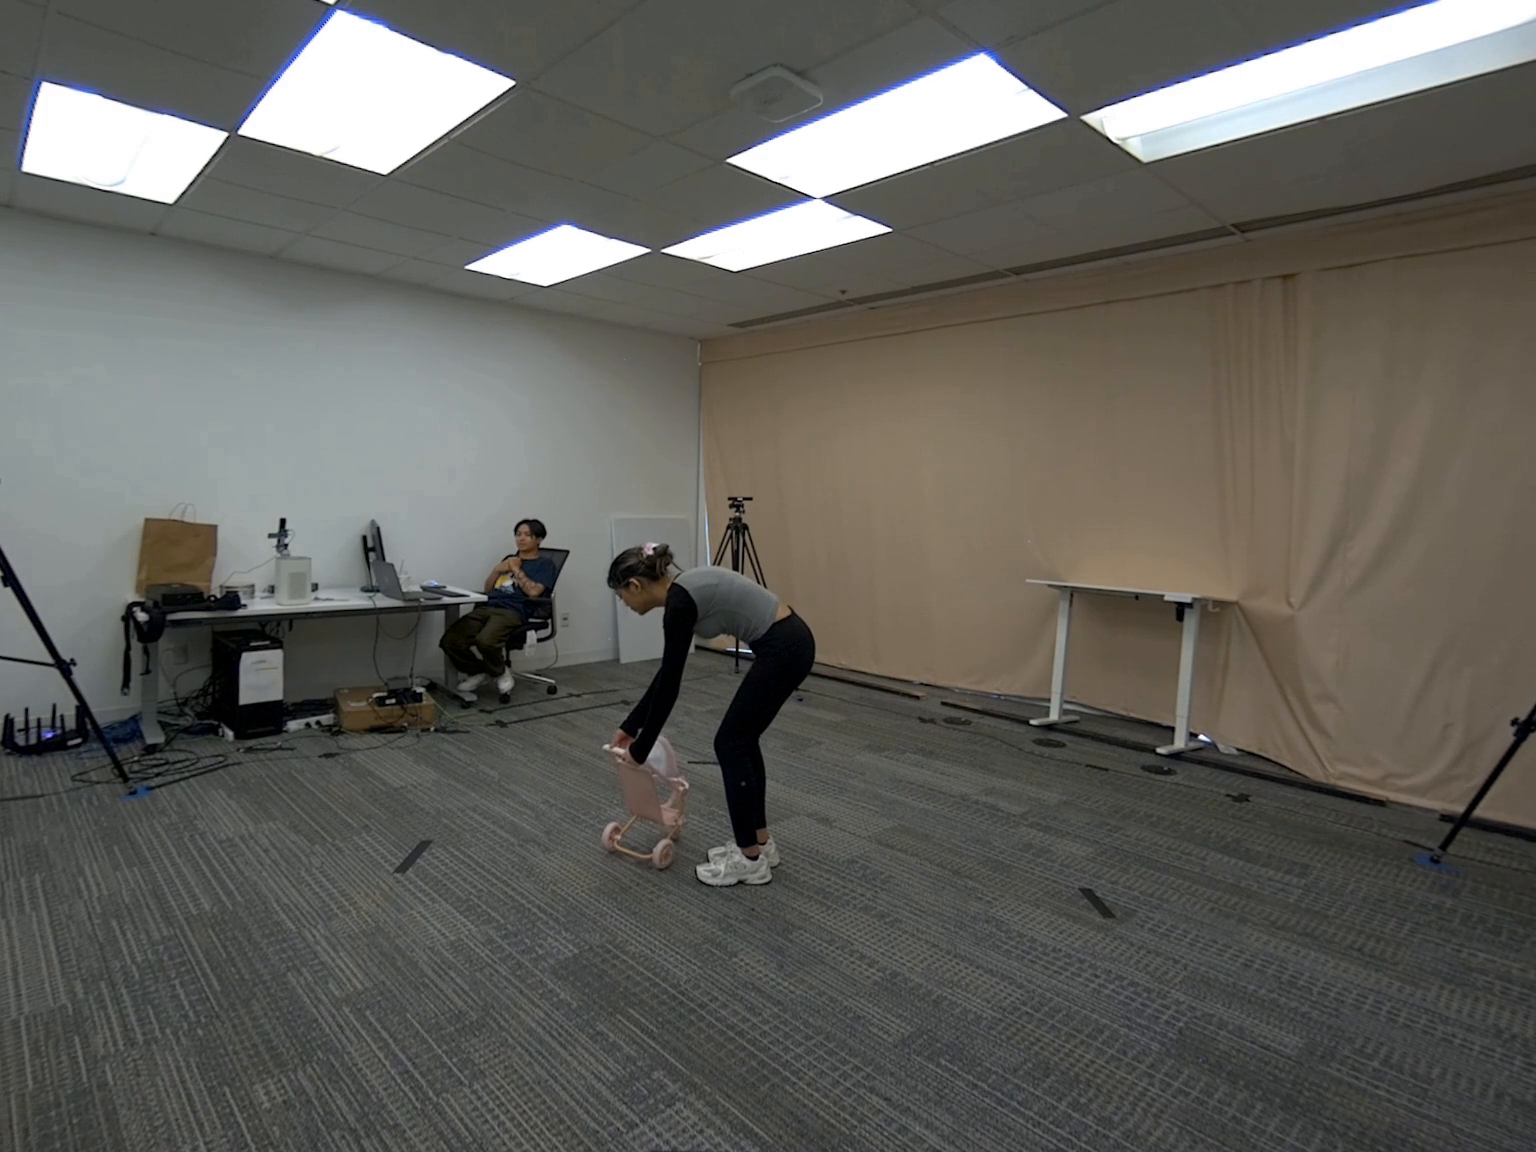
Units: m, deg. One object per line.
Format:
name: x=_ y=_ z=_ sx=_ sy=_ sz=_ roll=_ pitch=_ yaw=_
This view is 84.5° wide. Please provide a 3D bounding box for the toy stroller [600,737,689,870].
toy stroller: x=-0.459 y=0.849 z=3.265 sx=0.288 sy=0.529 sz=0.337 roll=7 pitch=17 yaw=33
